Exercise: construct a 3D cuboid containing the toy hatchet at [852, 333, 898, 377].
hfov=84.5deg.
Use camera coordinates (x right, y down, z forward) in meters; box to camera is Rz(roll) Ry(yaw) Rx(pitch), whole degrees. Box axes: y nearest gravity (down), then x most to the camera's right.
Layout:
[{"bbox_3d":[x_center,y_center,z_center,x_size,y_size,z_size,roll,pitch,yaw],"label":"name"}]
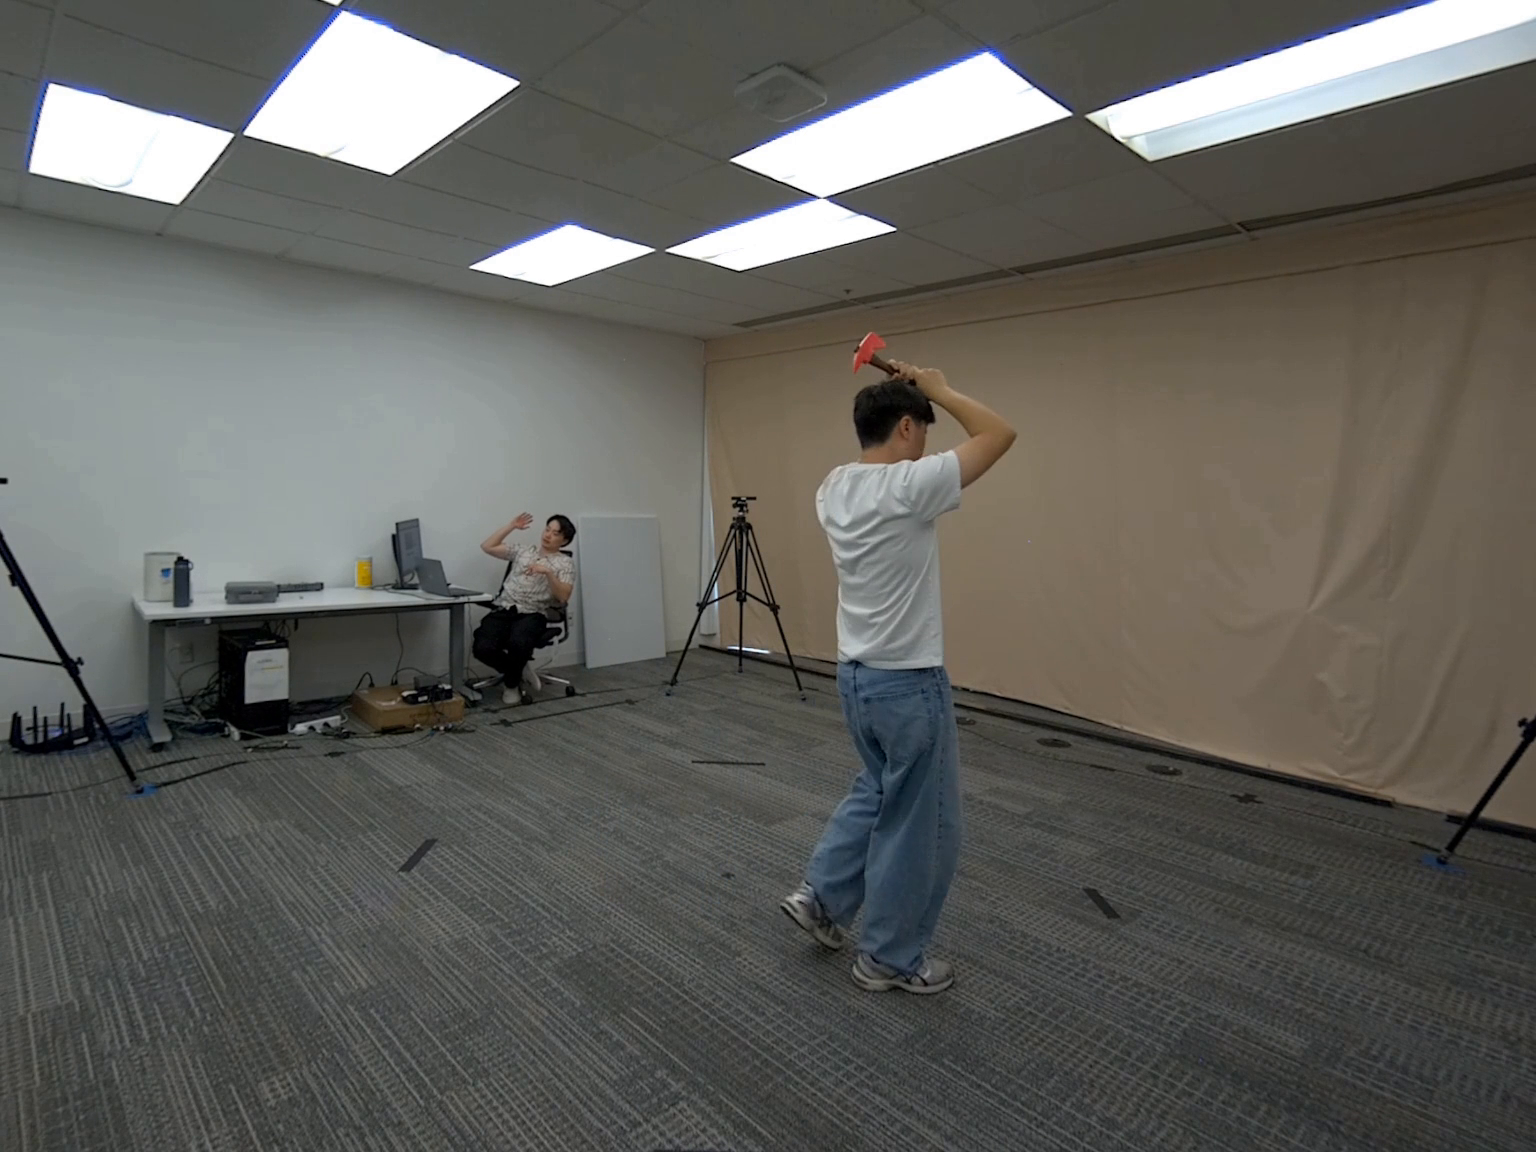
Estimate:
[{"bbox_3d":[0.368,-0.630,2.454,0.267,0.131,0.030,7,-7,-13],"label":"toy hatchet"}]
